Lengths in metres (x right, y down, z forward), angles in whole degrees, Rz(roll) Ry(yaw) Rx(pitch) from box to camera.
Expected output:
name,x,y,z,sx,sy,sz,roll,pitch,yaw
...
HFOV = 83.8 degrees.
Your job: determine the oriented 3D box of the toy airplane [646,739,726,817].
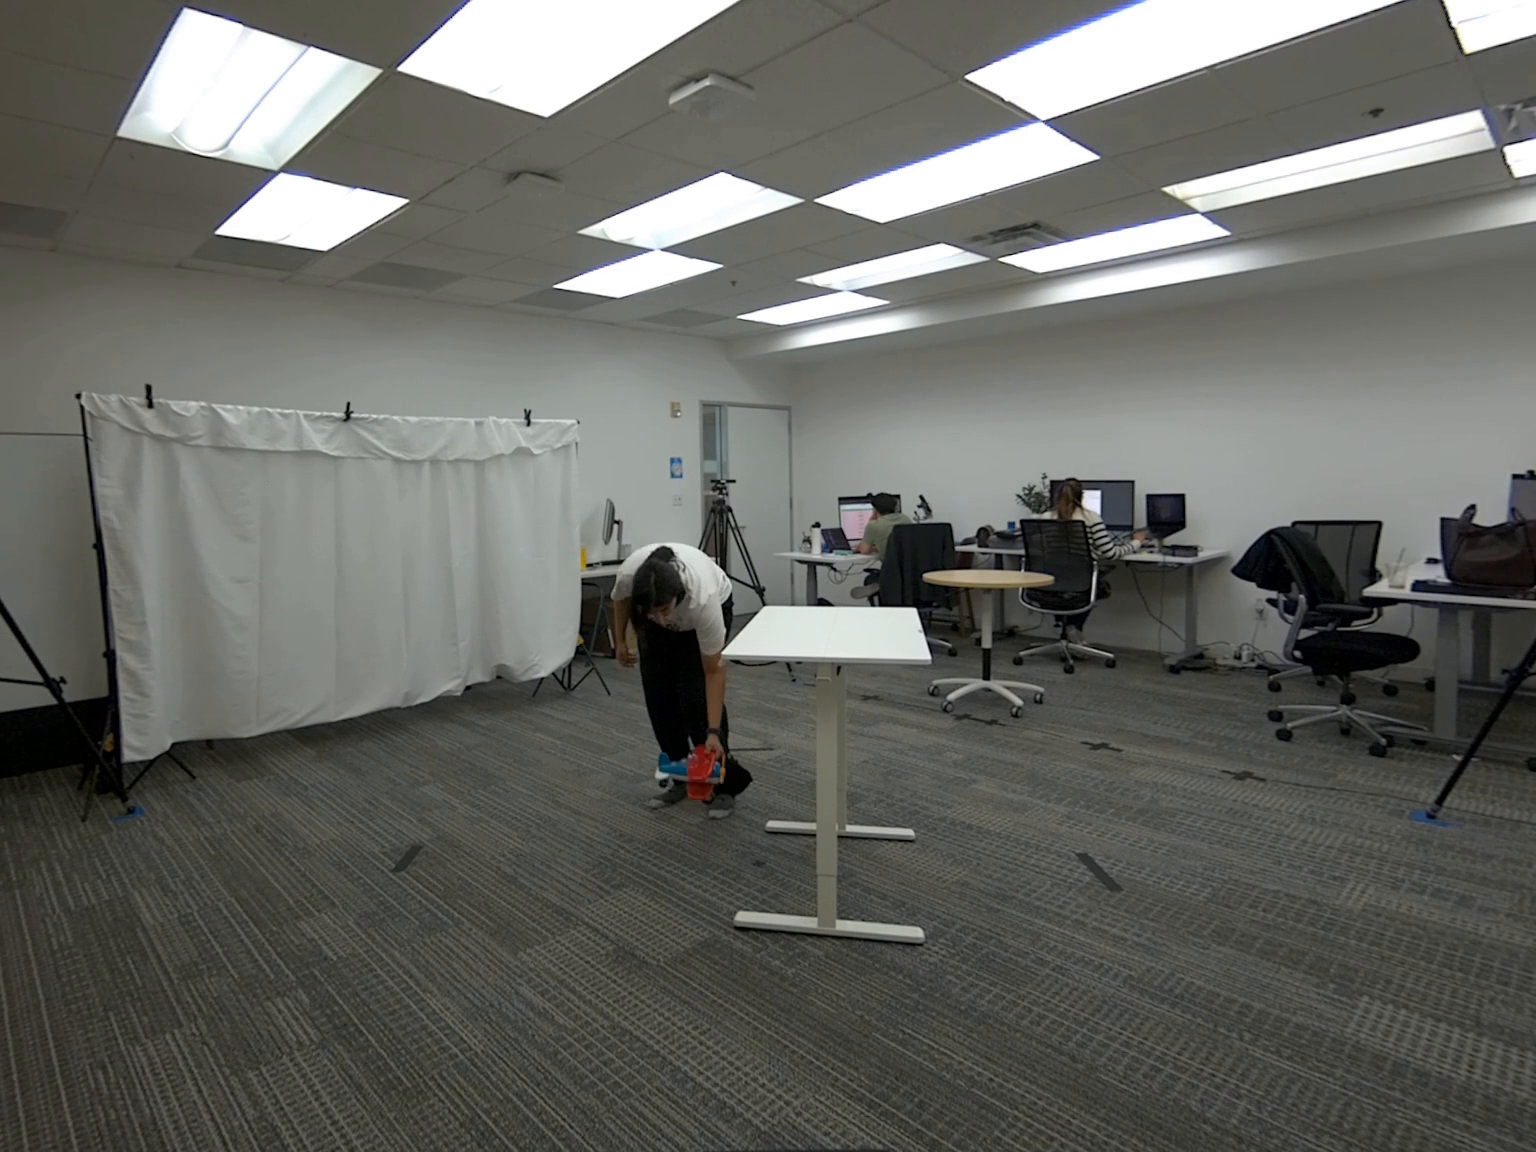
name,x,y,z,sx,sy,sz,roll,pitch,yaw
toy airplane,-0.289,0.758,3.242,0.253,0.155,0.260,6,20,-26
